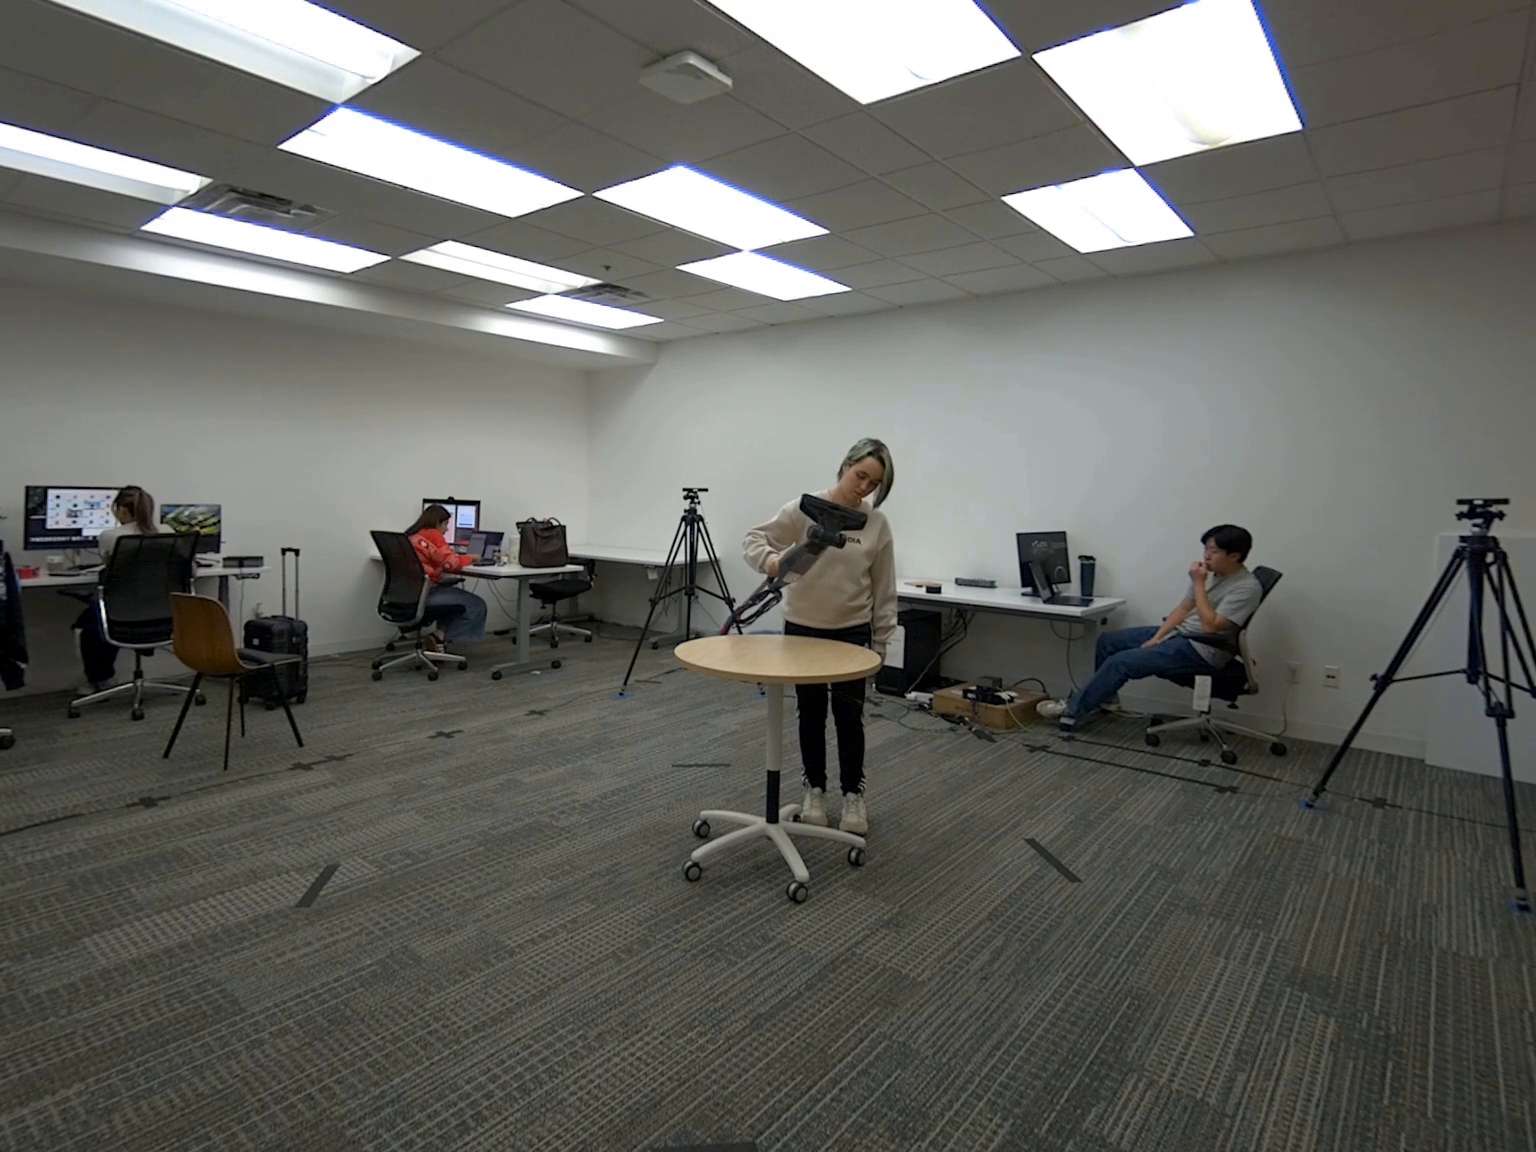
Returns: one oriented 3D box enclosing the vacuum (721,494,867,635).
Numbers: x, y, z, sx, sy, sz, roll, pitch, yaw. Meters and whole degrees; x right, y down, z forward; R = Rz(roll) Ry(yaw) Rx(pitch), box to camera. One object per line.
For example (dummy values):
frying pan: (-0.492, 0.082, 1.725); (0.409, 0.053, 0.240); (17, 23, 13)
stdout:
vacuum: (-0.001, 0.058, 3.351); (0.248, 0.147, 1.044); (20, -35, -13)
